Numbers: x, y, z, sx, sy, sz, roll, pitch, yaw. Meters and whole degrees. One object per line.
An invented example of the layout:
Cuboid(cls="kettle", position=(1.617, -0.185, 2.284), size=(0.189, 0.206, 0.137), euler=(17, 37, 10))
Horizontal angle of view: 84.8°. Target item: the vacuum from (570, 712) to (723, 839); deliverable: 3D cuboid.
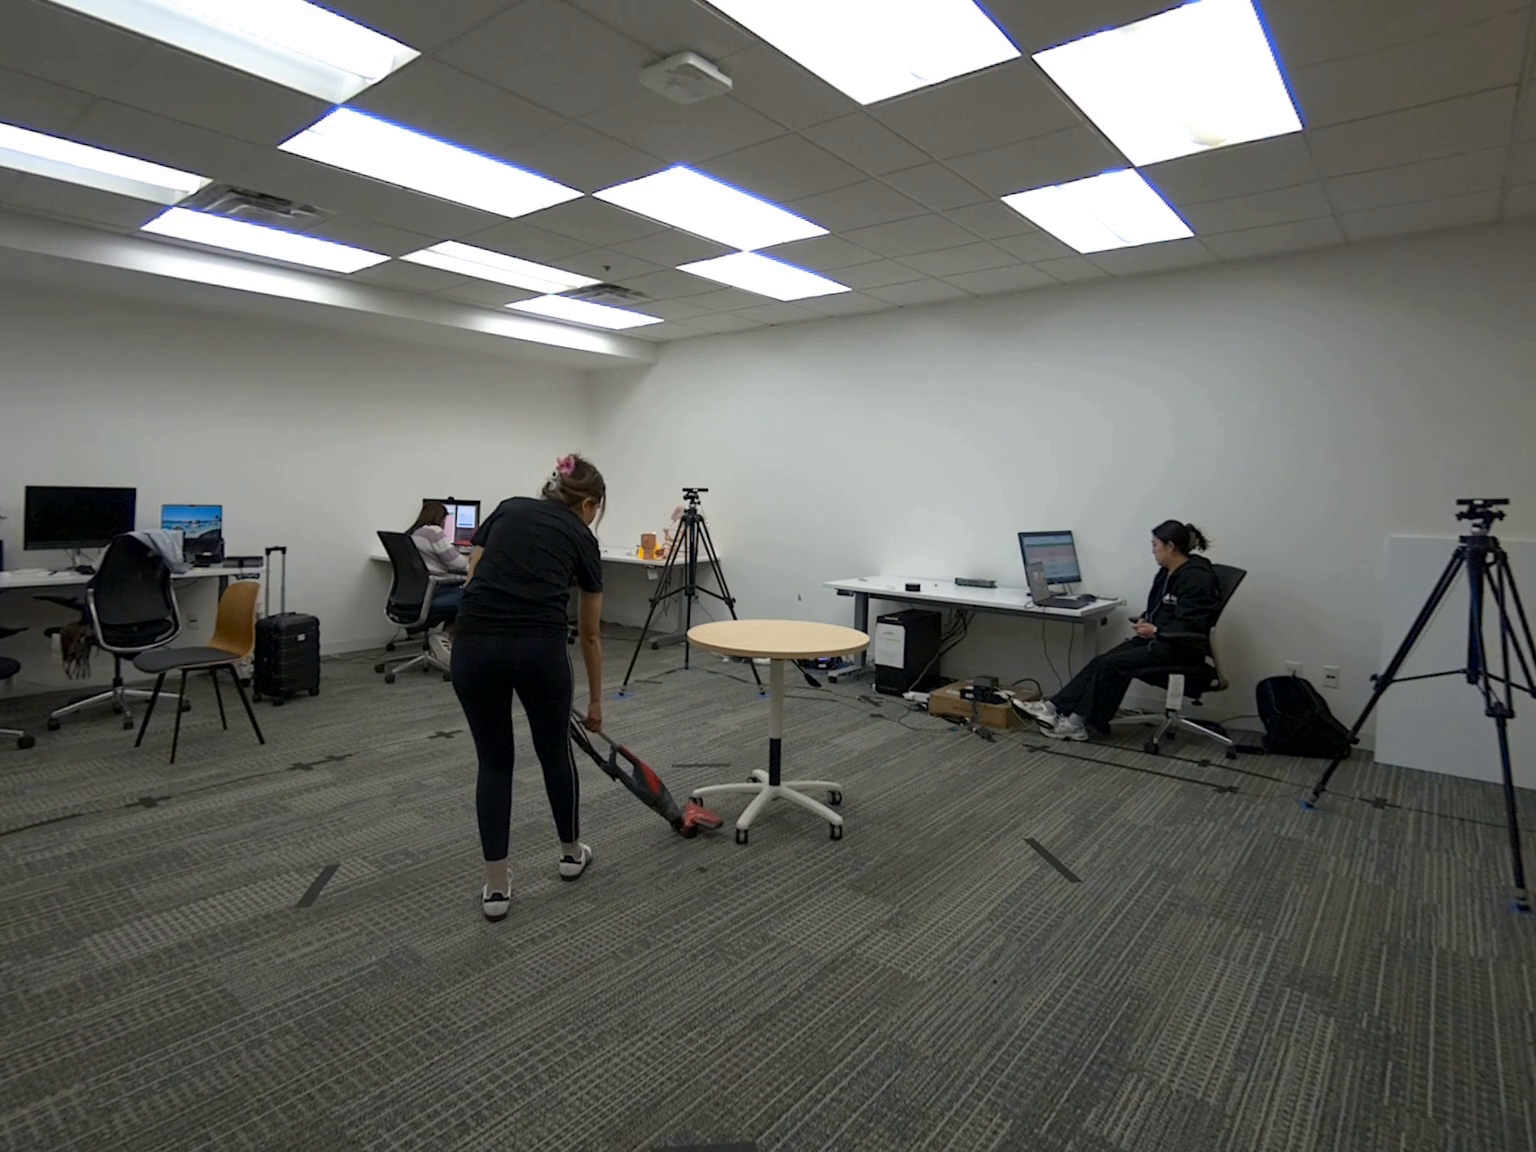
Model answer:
Cuboid(cls="vacuum", position=(-0.611, 0.682, 3.230), size=(1.013, 0.144, 0.261), euler=(46, -22, -28))
